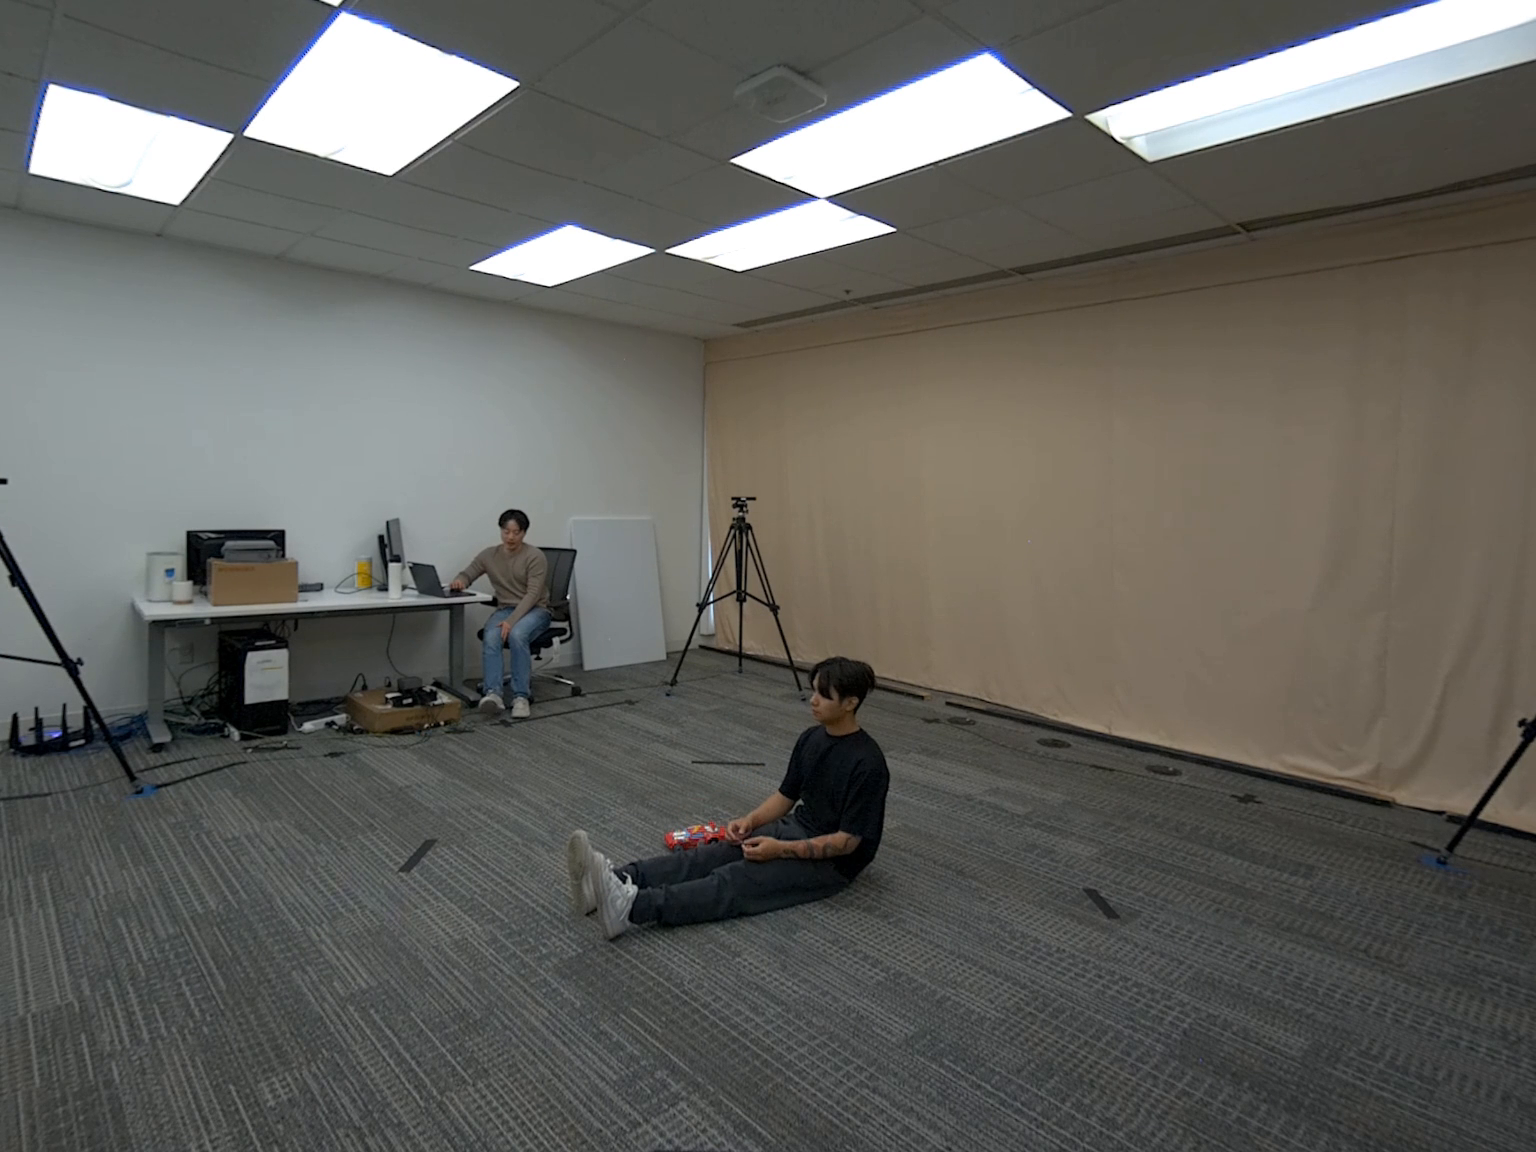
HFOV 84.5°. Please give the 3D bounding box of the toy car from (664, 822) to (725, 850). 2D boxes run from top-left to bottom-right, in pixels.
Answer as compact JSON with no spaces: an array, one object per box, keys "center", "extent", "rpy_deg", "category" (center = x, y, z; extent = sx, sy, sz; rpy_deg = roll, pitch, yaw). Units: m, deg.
[{"center":[-0.286,1.043,3.365],"extent":[0.252,0.083,0.132],"rpy_deg":[-12,8,-18],"category":"toy car"}]
